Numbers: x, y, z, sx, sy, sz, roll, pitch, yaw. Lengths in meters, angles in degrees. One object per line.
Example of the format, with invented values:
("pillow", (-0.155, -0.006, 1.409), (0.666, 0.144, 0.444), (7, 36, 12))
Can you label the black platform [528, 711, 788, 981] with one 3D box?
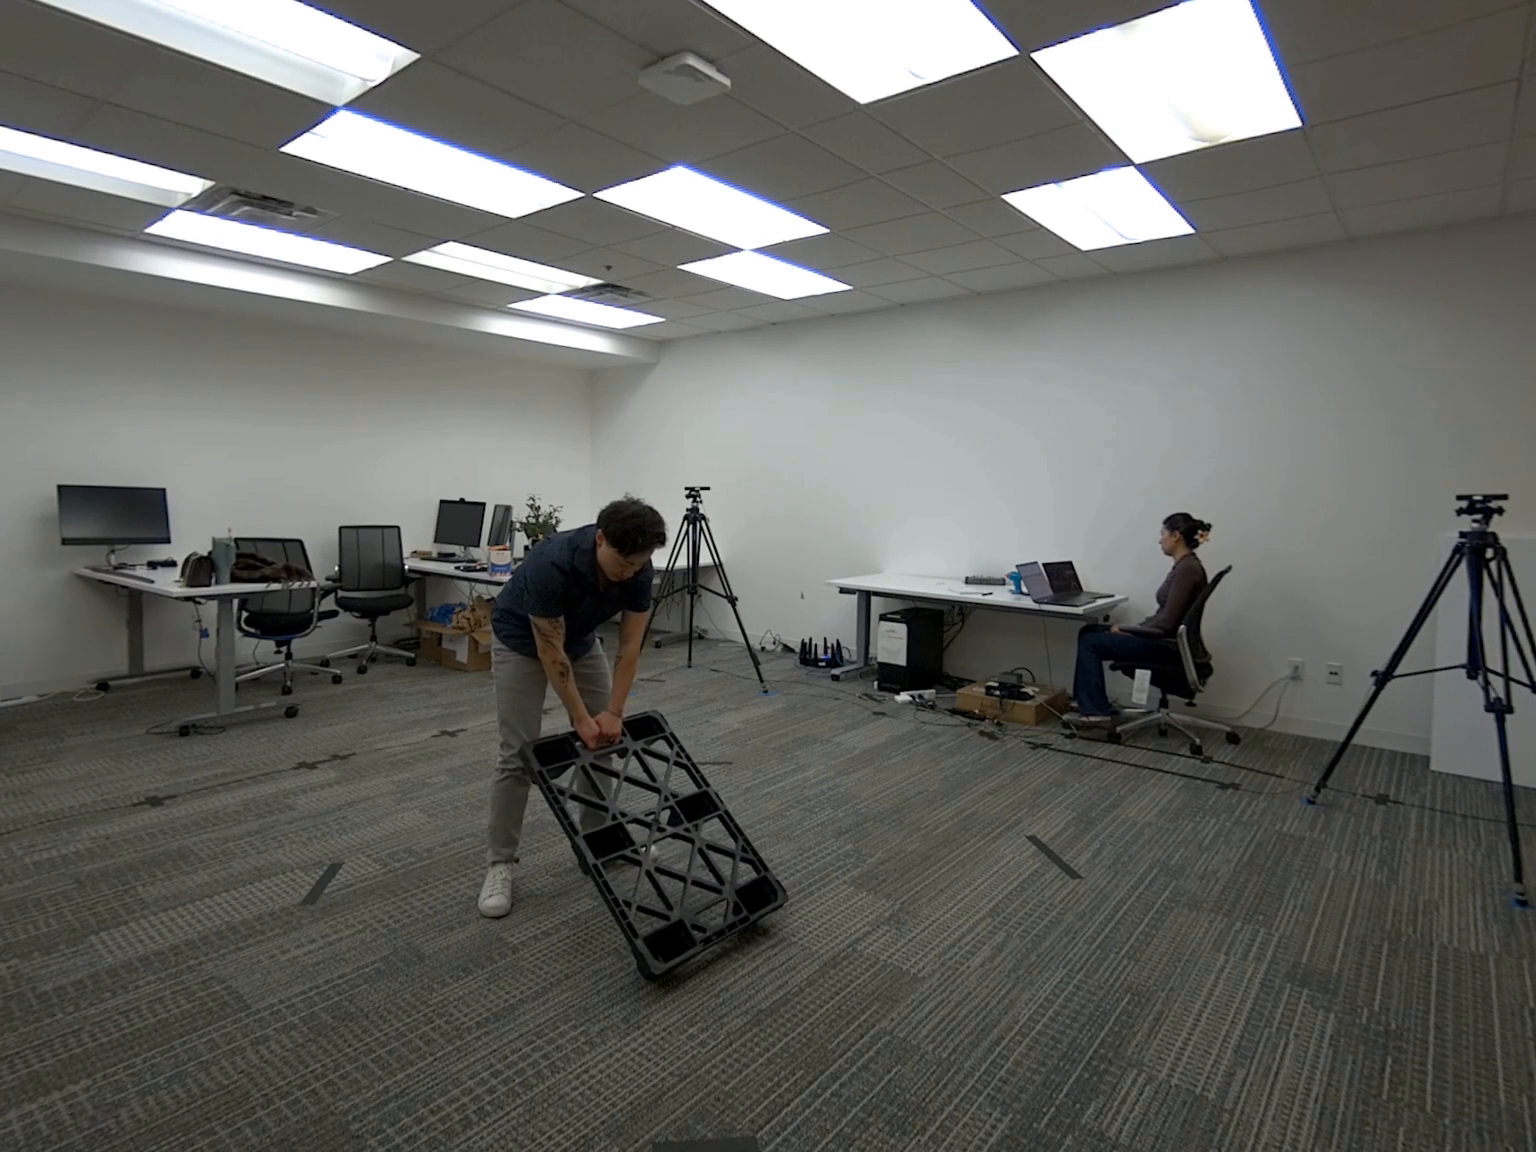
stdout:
("black platform", (-0.390, 0.818, 2.717), (0.587, 0.142, 0.835), (-4, 45, -49))
